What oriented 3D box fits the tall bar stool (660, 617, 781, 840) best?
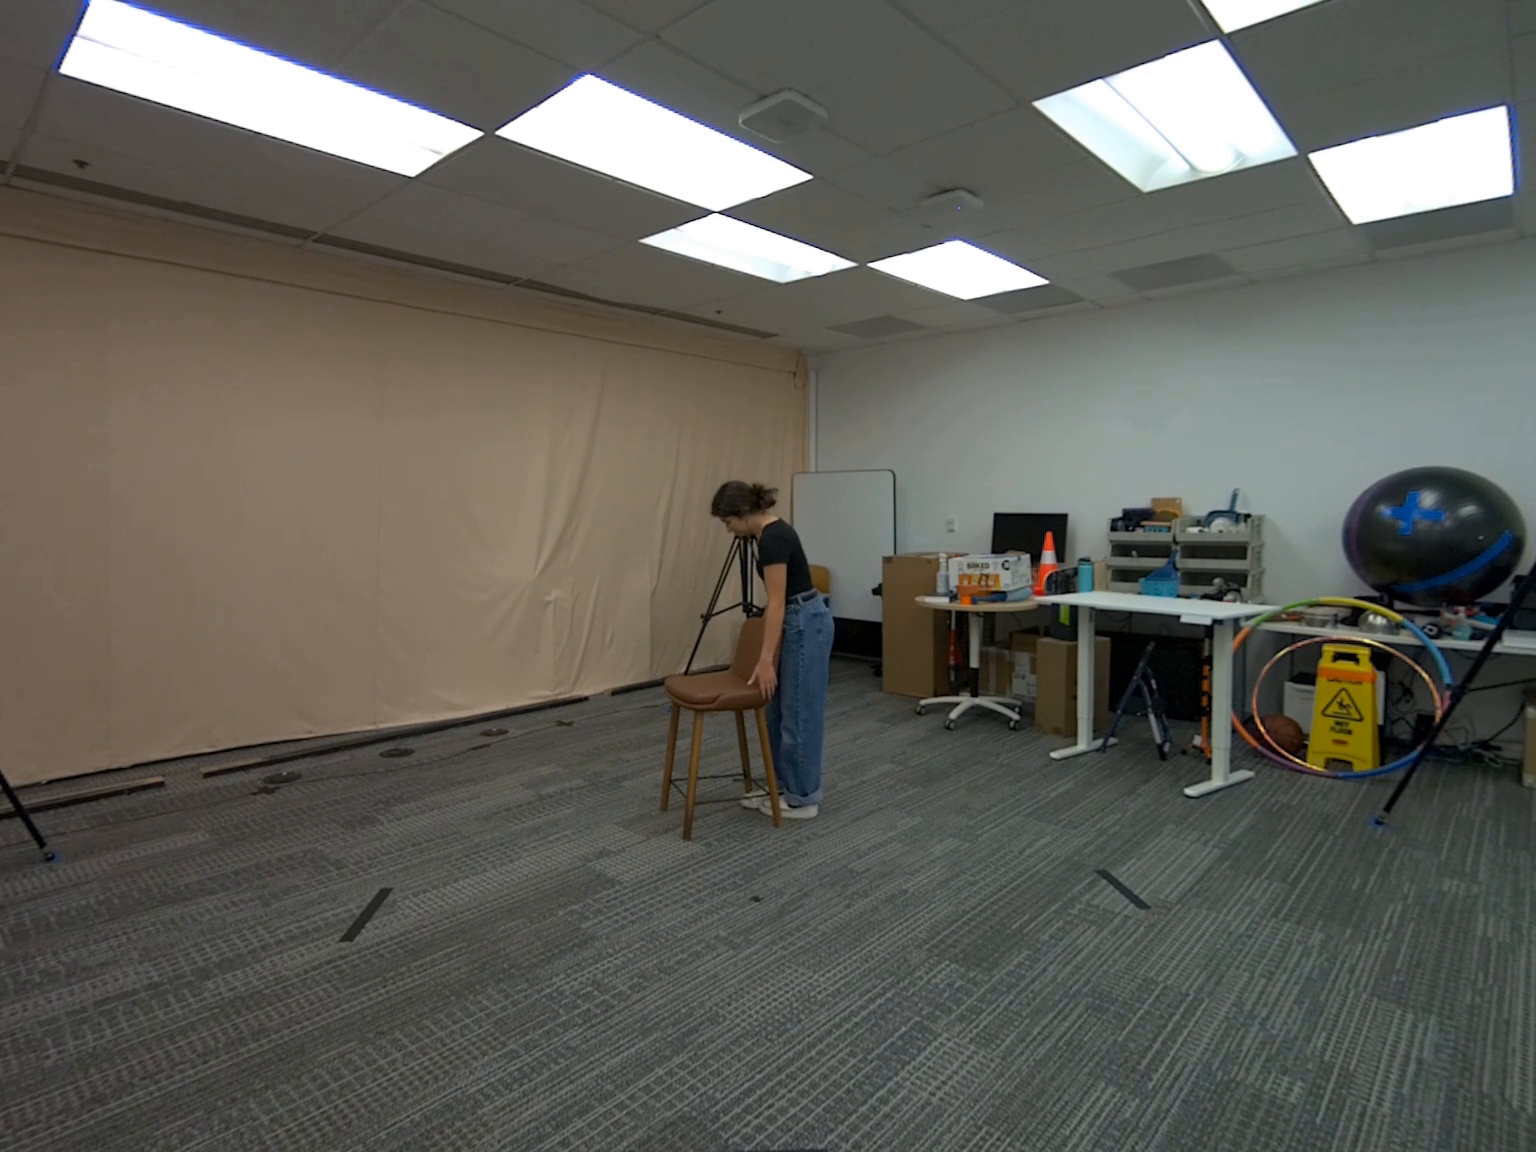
[{"bbox_3d":[-0.215,0.646,3.744,0.458,0.888,0.466,1,3,-20],"label":"tall bar stool"}]
